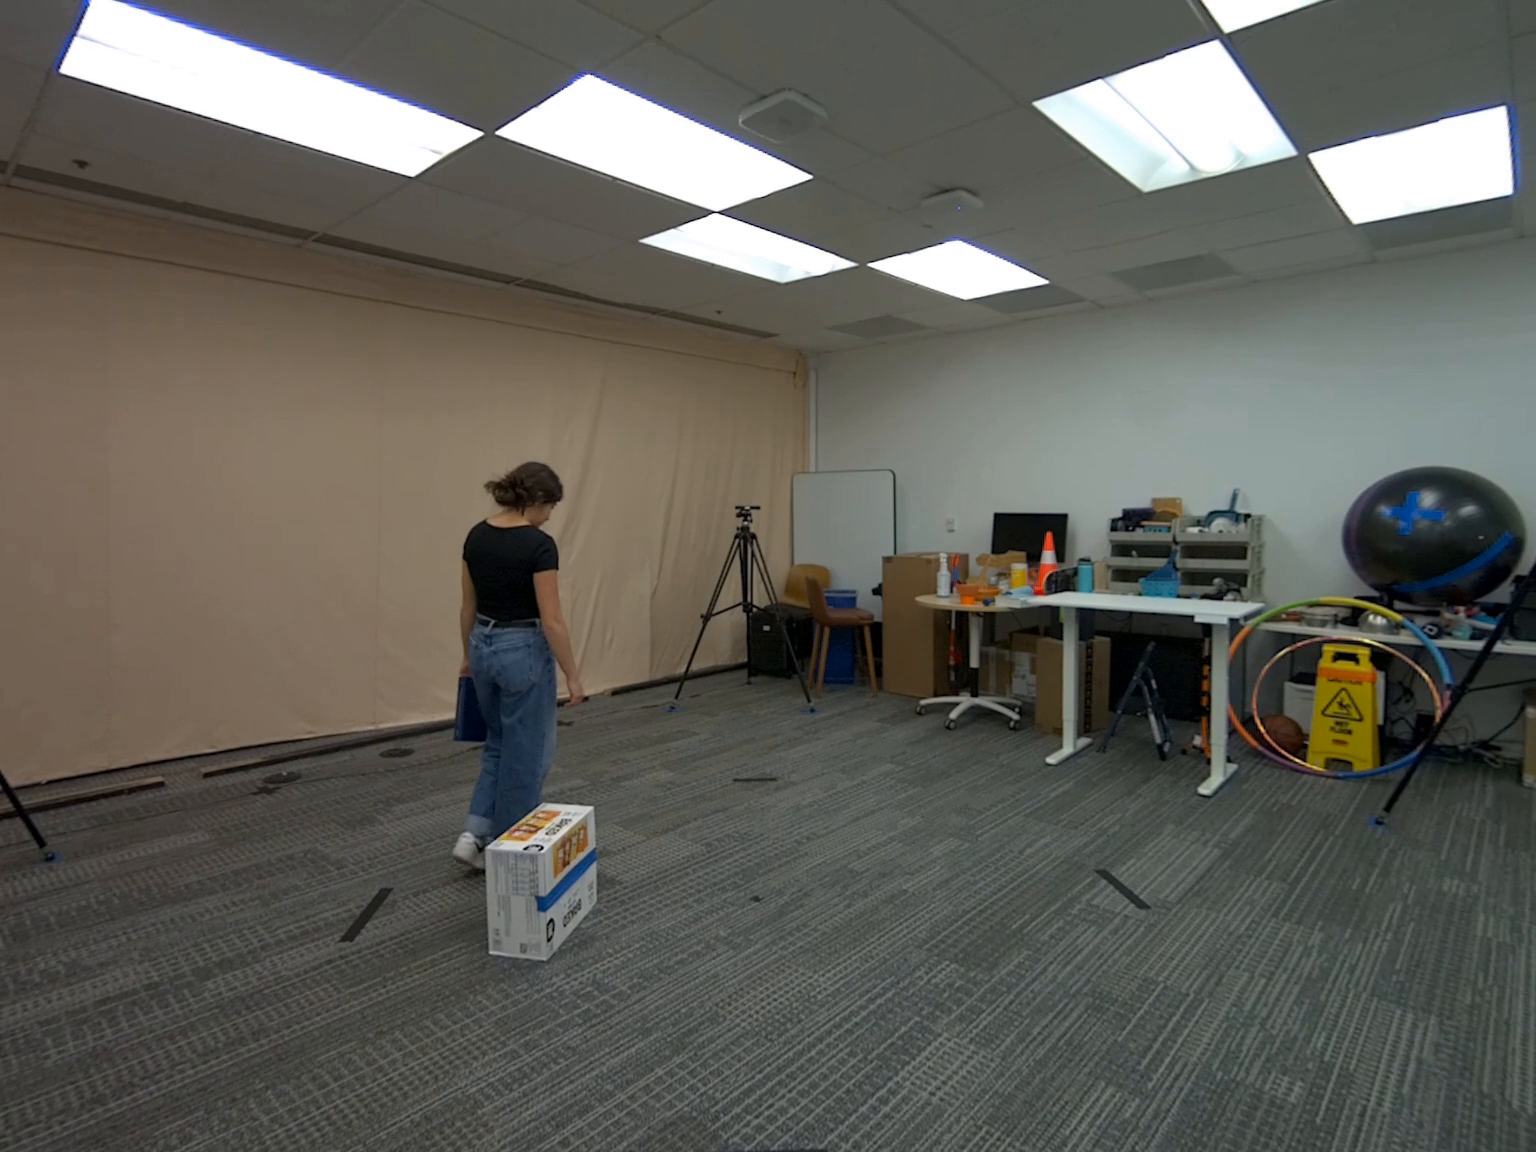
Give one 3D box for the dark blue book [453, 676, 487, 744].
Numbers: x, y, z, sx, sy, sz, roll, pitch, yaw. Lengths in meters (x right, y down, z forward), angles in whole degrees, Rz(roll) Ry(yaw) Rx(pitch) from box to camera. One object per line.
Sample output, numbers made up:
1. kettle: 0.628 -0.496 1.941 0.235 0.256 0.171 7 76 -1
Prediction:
1. dark blue book: -1.154 0.528 3.305 0.046 0.247 0.158 -5 -11 25
